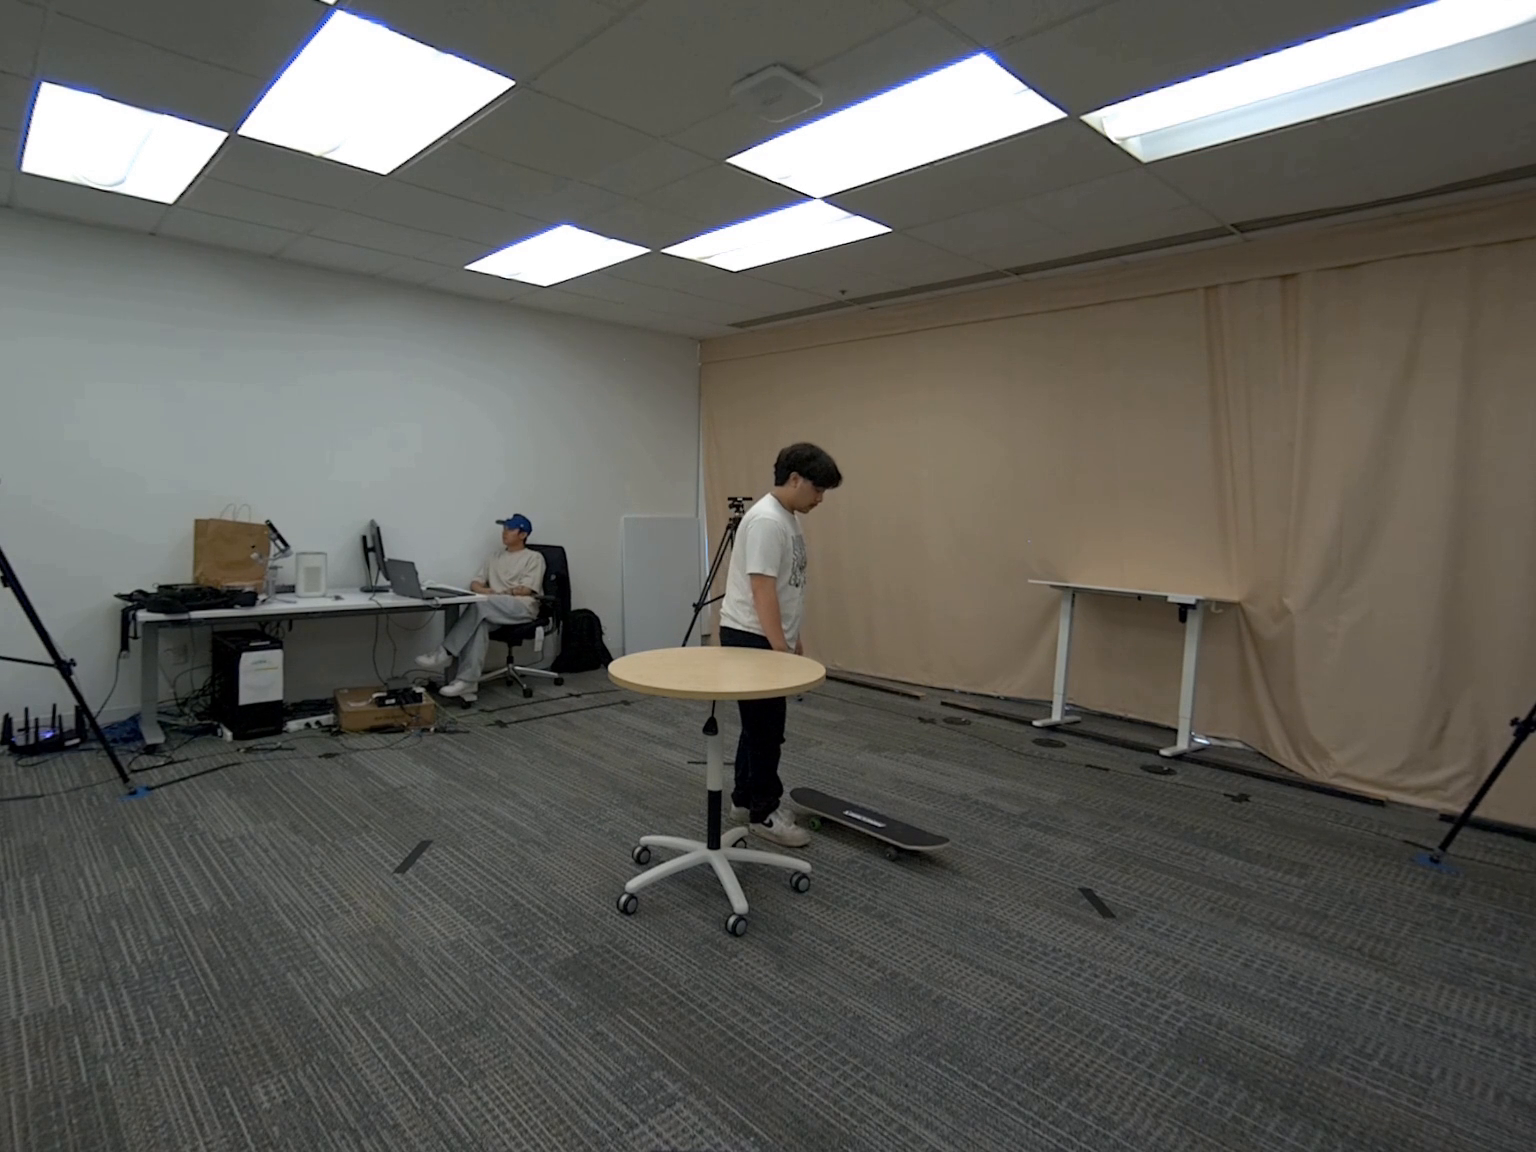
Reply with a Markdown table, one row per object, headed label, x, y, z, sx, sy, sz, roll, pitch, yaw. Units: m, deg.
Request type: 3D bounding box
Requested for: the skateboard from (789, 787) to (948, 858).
| label | x | y | z | sx | sy | sz | roll | pitch | yaw |
| --- | --- | --- | --- | --- | --- | --- | --- | --- | --- |
| skateboard | 0.391 | 1.040 | 3.483 | 0.189 | 0.110 | 0.806 | -2 | 6 | -43 |
